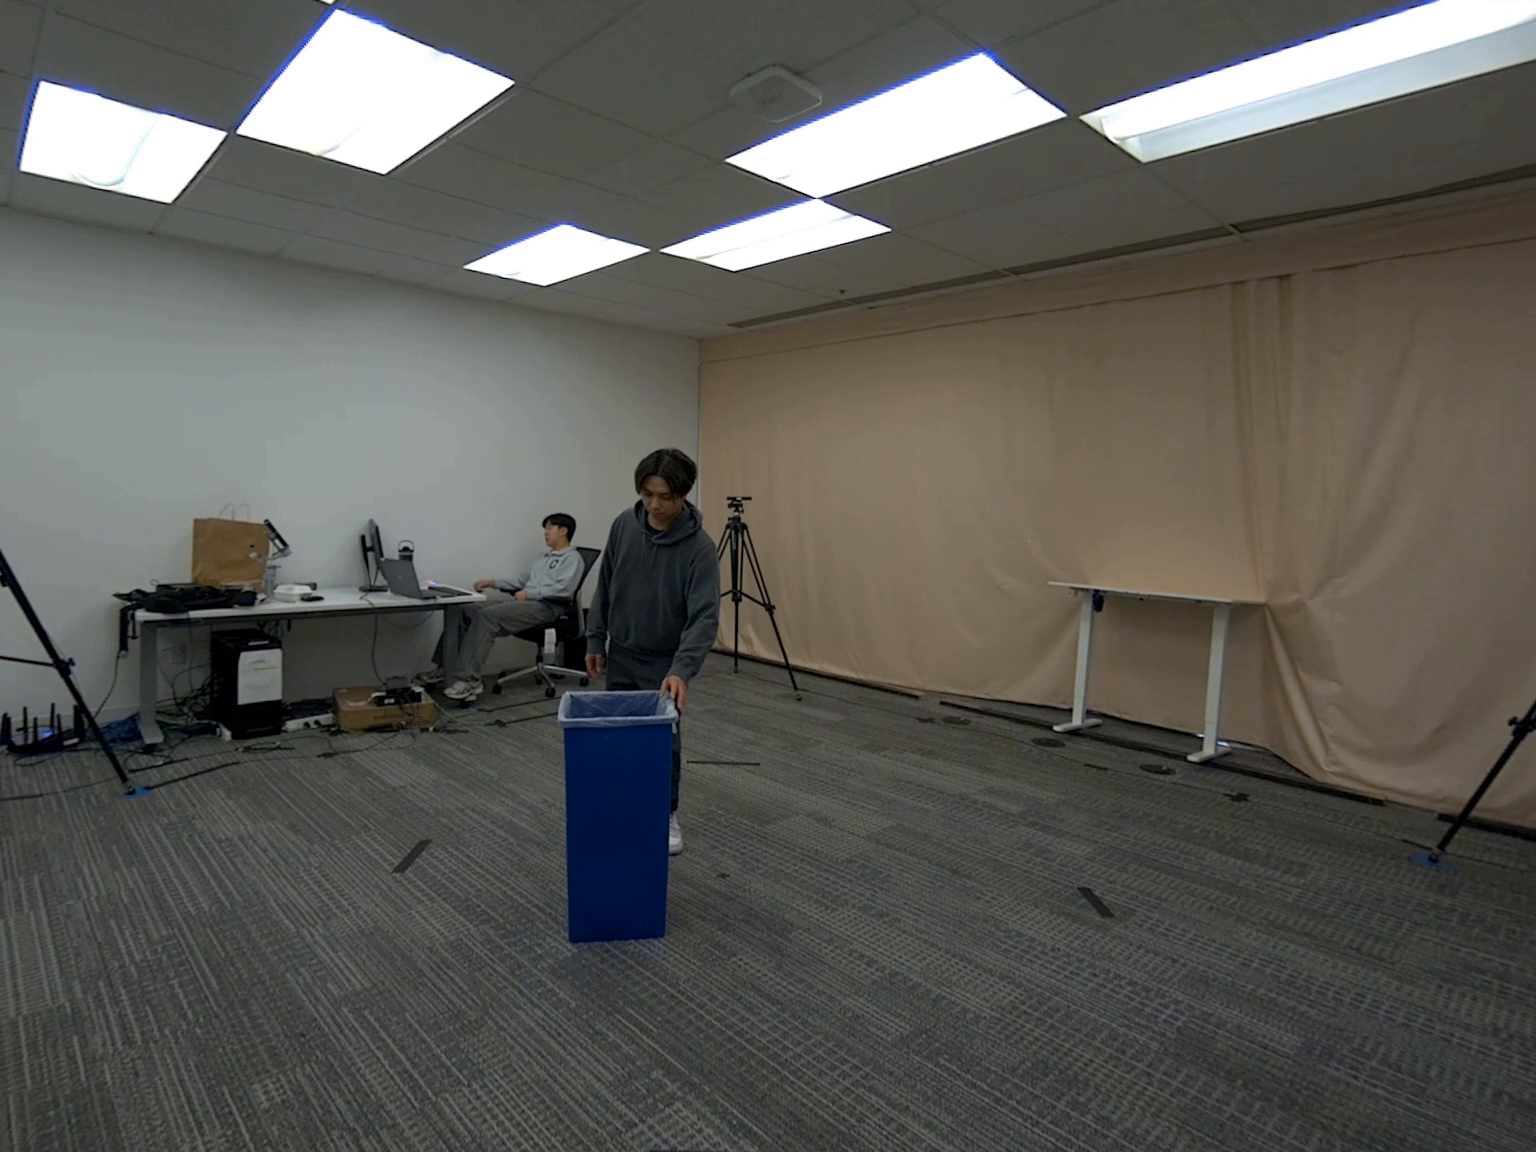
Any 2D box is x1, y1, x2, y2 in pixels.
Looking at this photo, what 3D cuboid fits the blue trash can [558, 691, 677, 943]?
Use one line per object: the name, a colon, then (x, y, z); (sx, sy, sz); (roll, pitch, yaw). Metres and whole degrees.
blue trash can: (-0.511, 0.778, 2.754); (0.371, 0.712, 0.382); (1, 4, -10)
